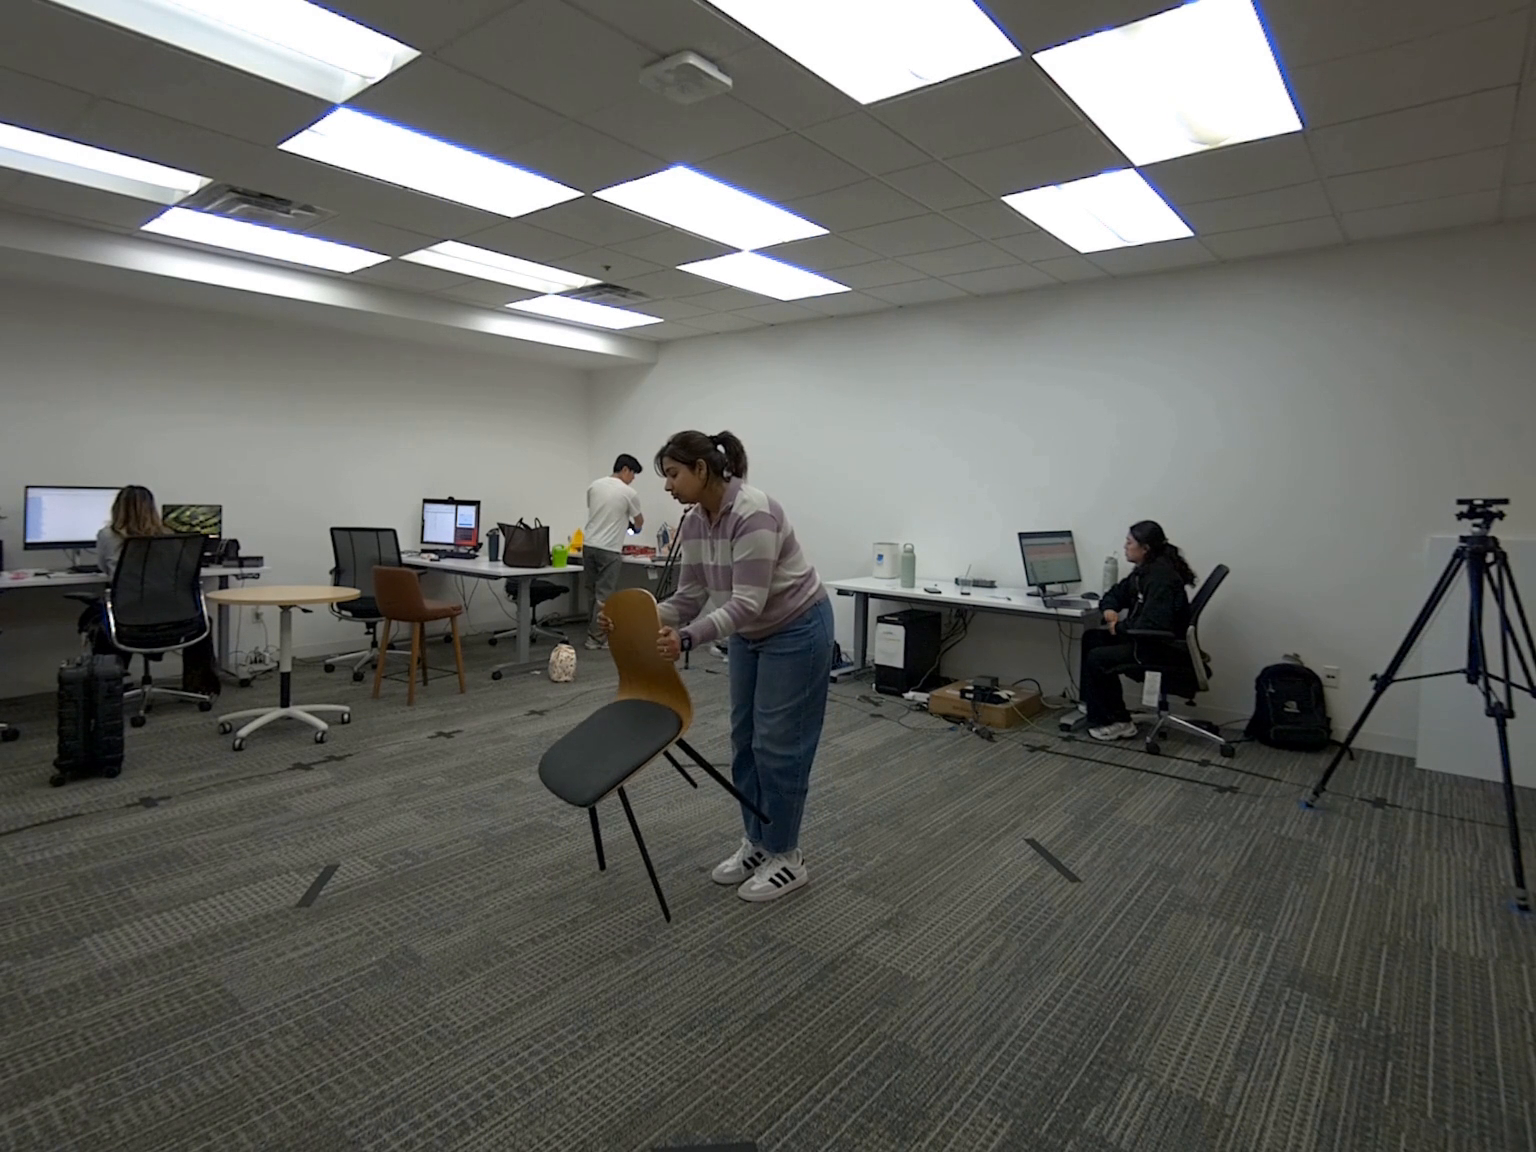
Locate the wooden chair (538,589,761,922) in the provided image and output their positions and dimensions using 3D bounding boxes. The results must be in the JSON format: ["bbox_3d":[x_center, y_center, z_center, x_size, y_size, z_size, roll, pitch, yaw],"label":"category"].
[{"bbox_3d":[-0.459,0.554,2.709,0.517,0.860,0.493,-30,19,-31],"label":"wooden chair"}]
